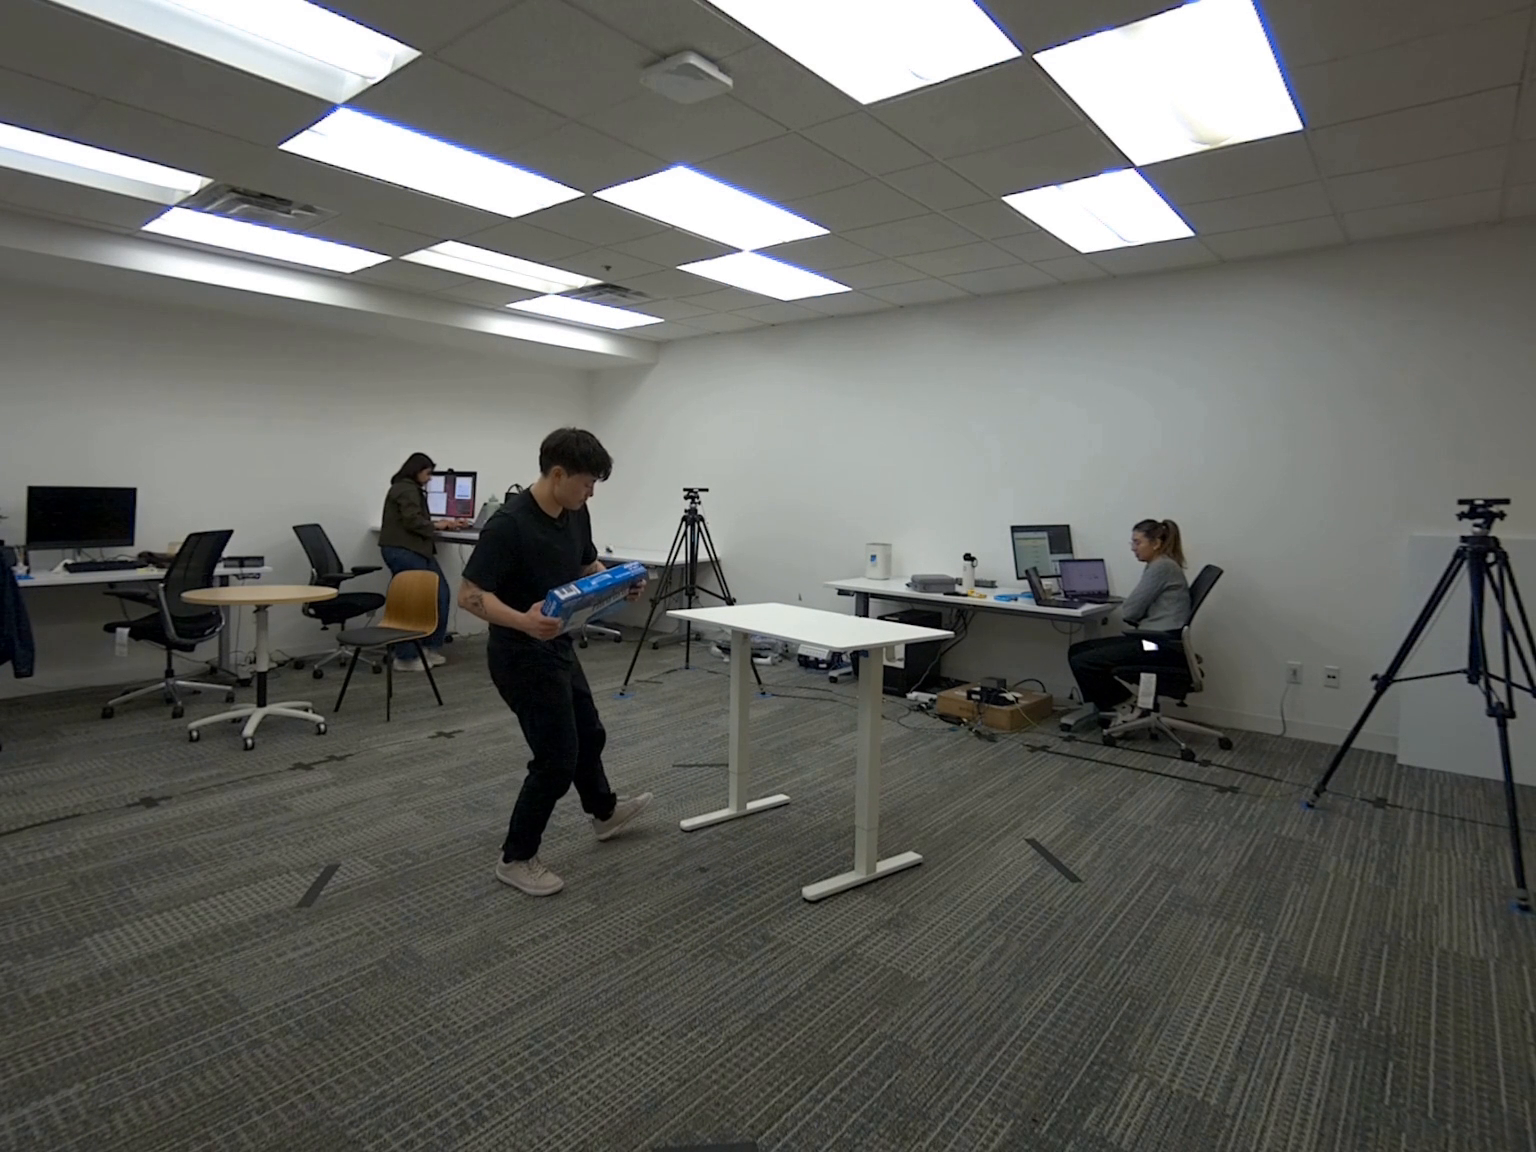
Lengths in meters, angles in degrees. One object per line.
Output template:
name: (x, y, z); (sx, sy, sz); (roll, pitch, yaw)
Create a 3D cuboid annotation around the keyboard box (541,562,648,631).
keyboard box: (-0.587, 0.072, 2.789); (0.060, 0.175, 0.429); (41, 30, 15)
